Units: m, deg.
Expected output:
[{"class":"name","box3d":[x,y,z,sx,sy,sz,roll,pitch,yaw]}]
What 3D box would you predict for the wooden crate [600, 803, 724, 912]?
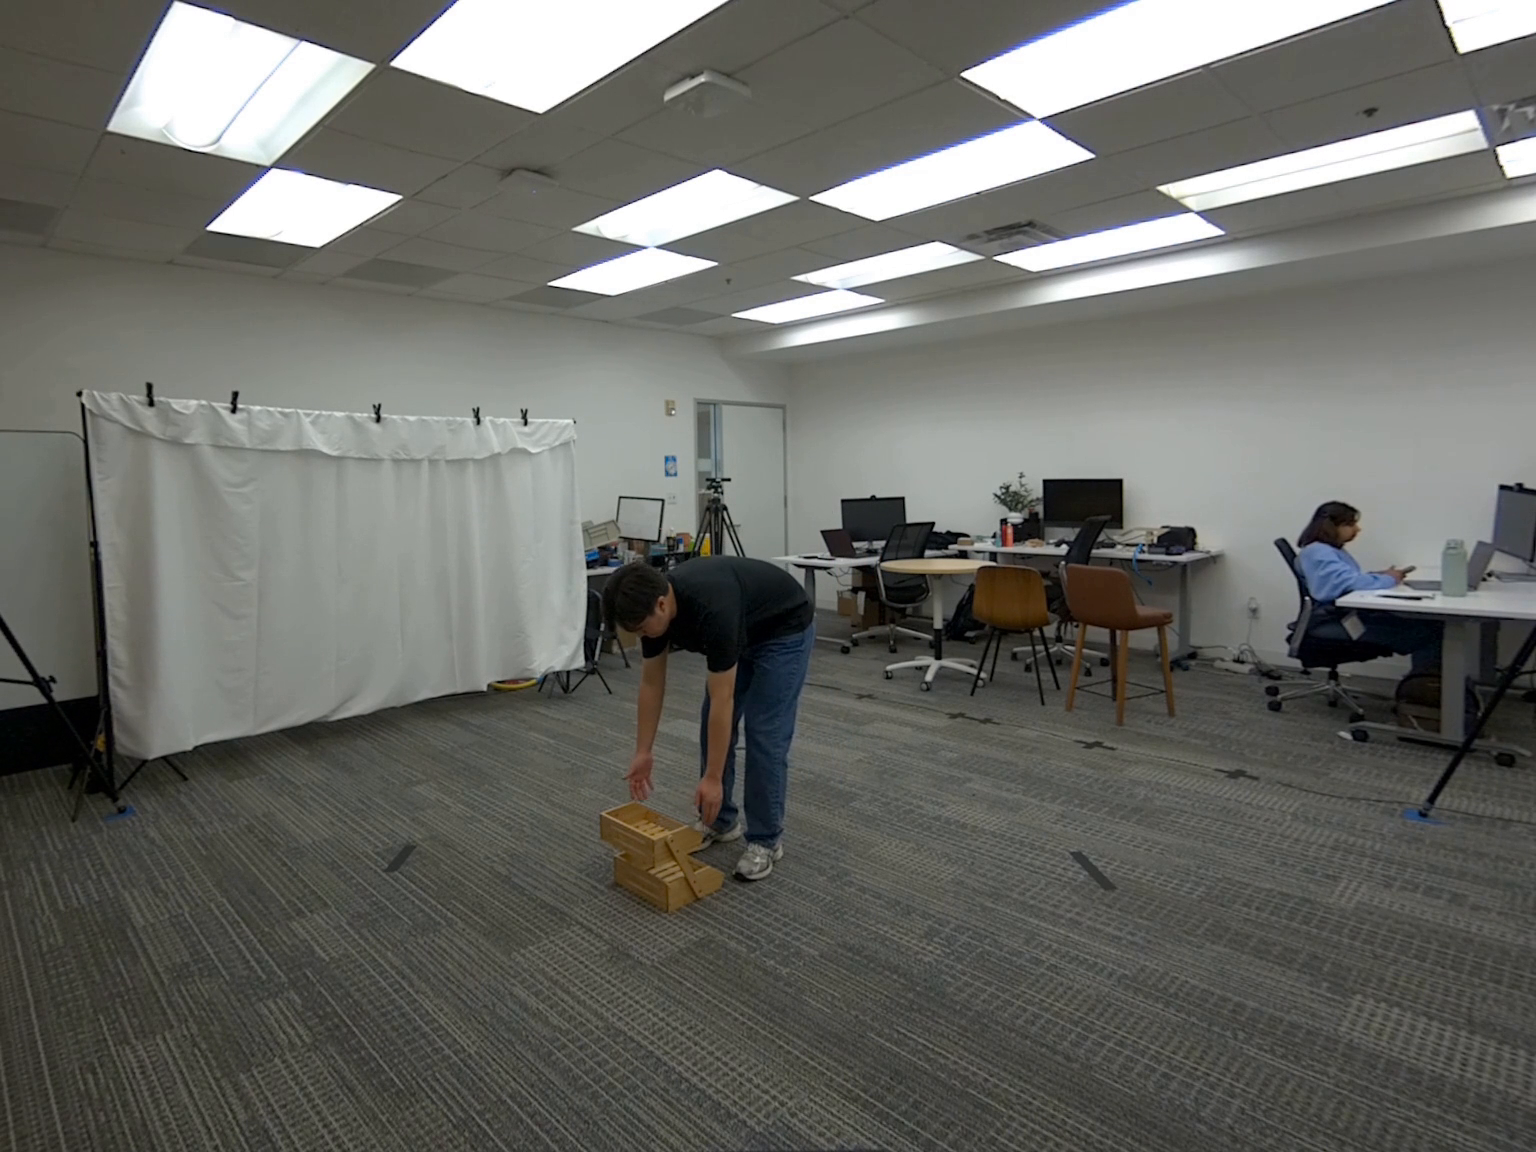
[{"class":"wooden crate","box3d":[-0.356,0.935,2.925,0.294,0.272,0.334,-7,8,-44]}]
